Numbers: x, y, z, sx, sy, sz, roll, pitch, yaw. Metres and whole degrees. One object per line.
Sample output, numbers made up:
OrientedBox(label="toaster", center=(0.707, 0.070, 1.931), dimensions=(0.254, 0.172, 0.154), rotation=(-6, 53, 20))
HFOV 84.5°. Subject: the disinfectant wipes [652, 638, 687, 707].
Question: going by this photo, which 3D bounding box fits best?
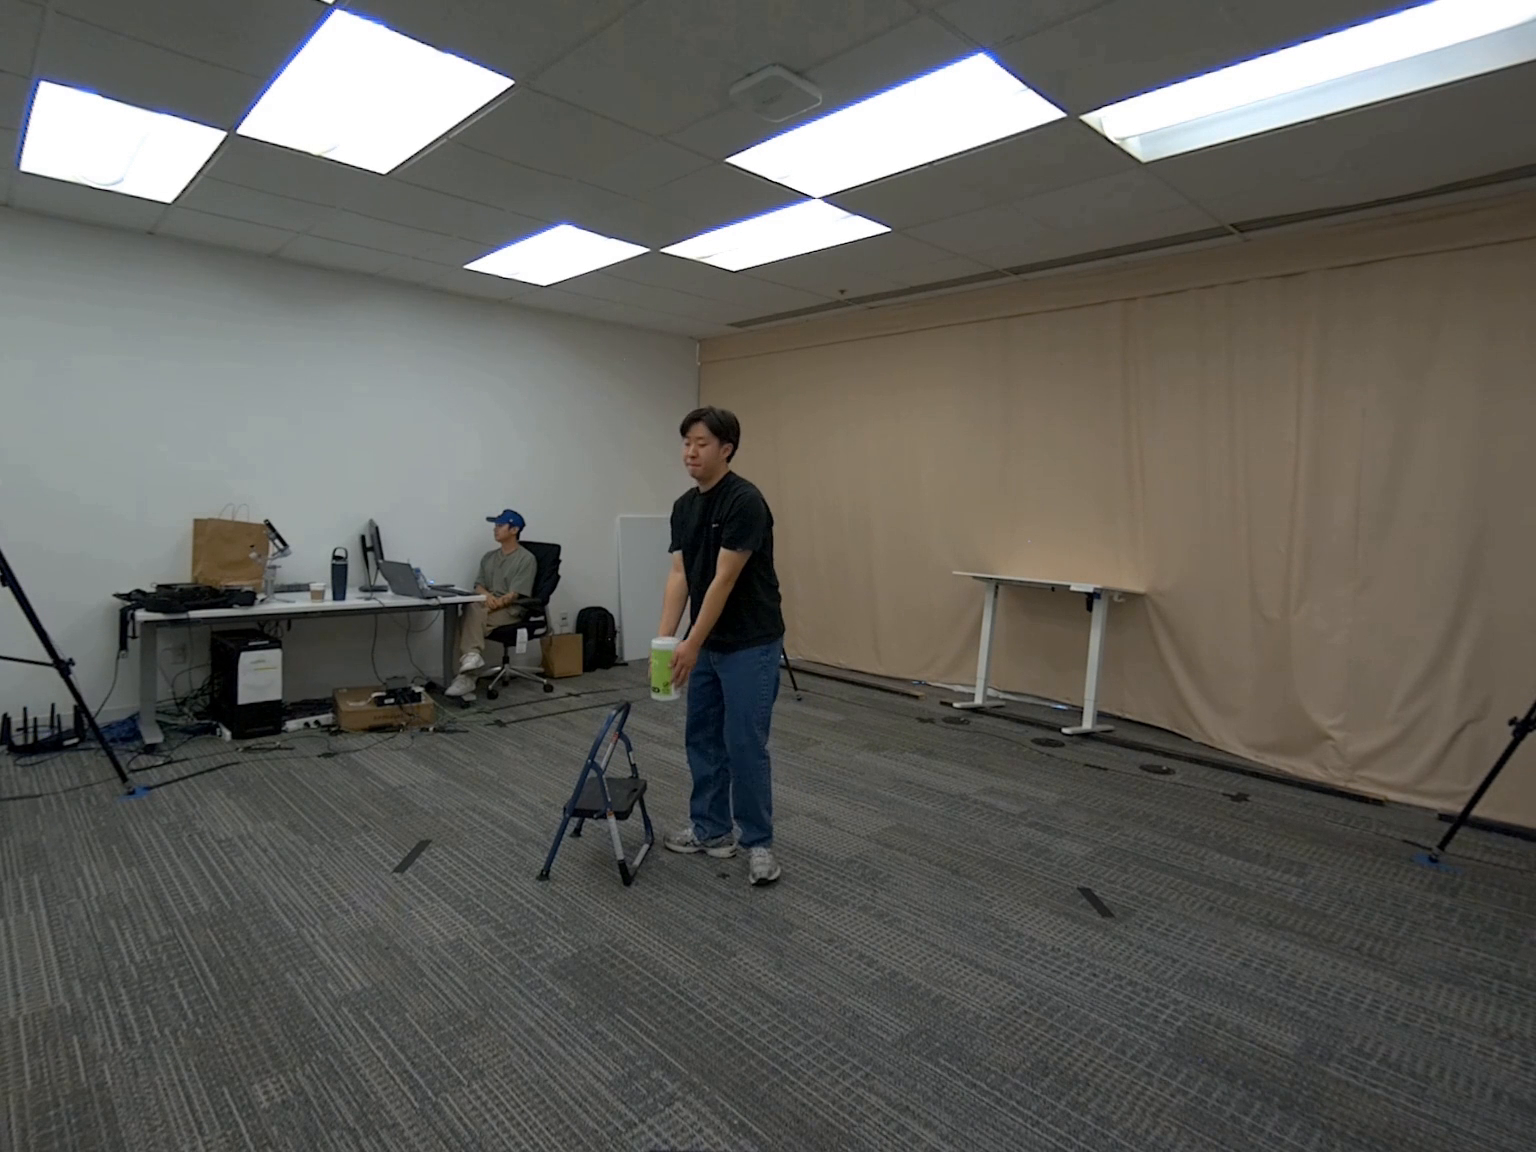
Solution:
OrientedBox(label="disinfectant wipes", center=(-0.354, 0.345, 3.048), dimensions=(0.118, 0.216, 0.118), rotation=(1, 5, -2))
